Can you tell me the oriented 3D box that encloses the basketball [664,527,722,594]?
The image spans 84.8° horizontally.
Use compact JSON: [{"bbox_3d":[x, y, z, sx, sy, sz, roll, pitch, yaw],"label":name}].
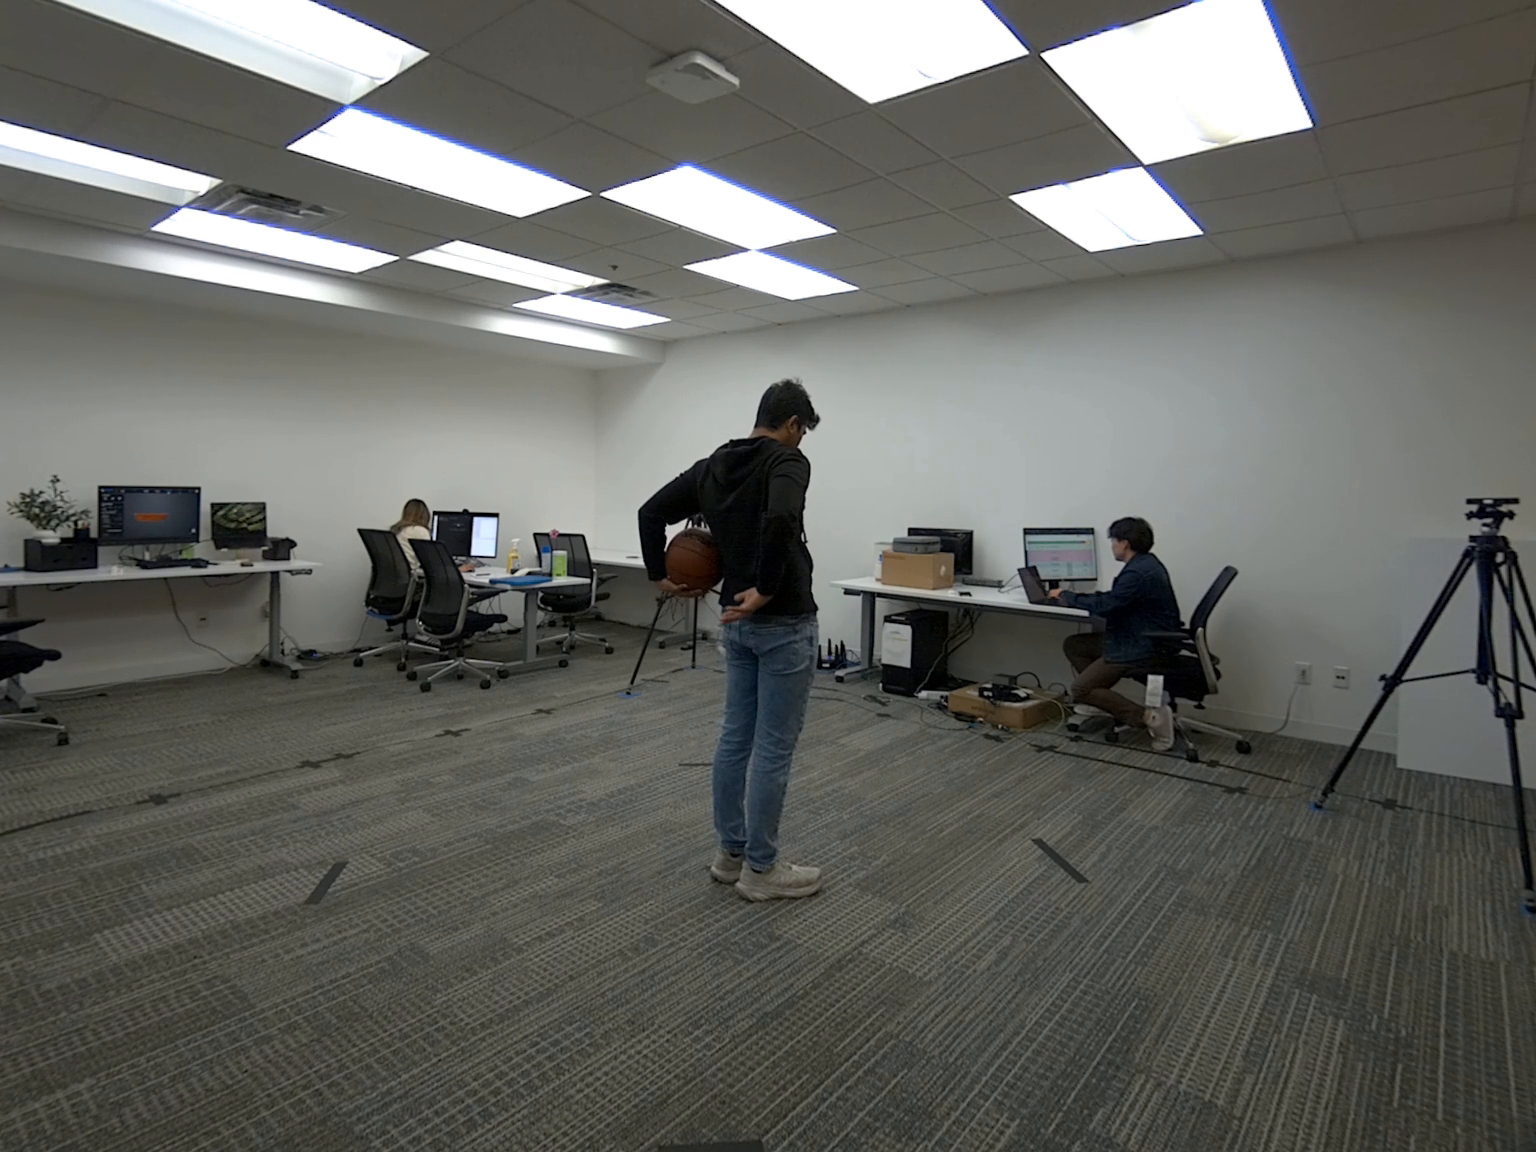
[{"bbox_3d":[-0.260,-0.065,3.125,0.235,0.235,0.237,1,4,-2],"label":"basketball"}]
